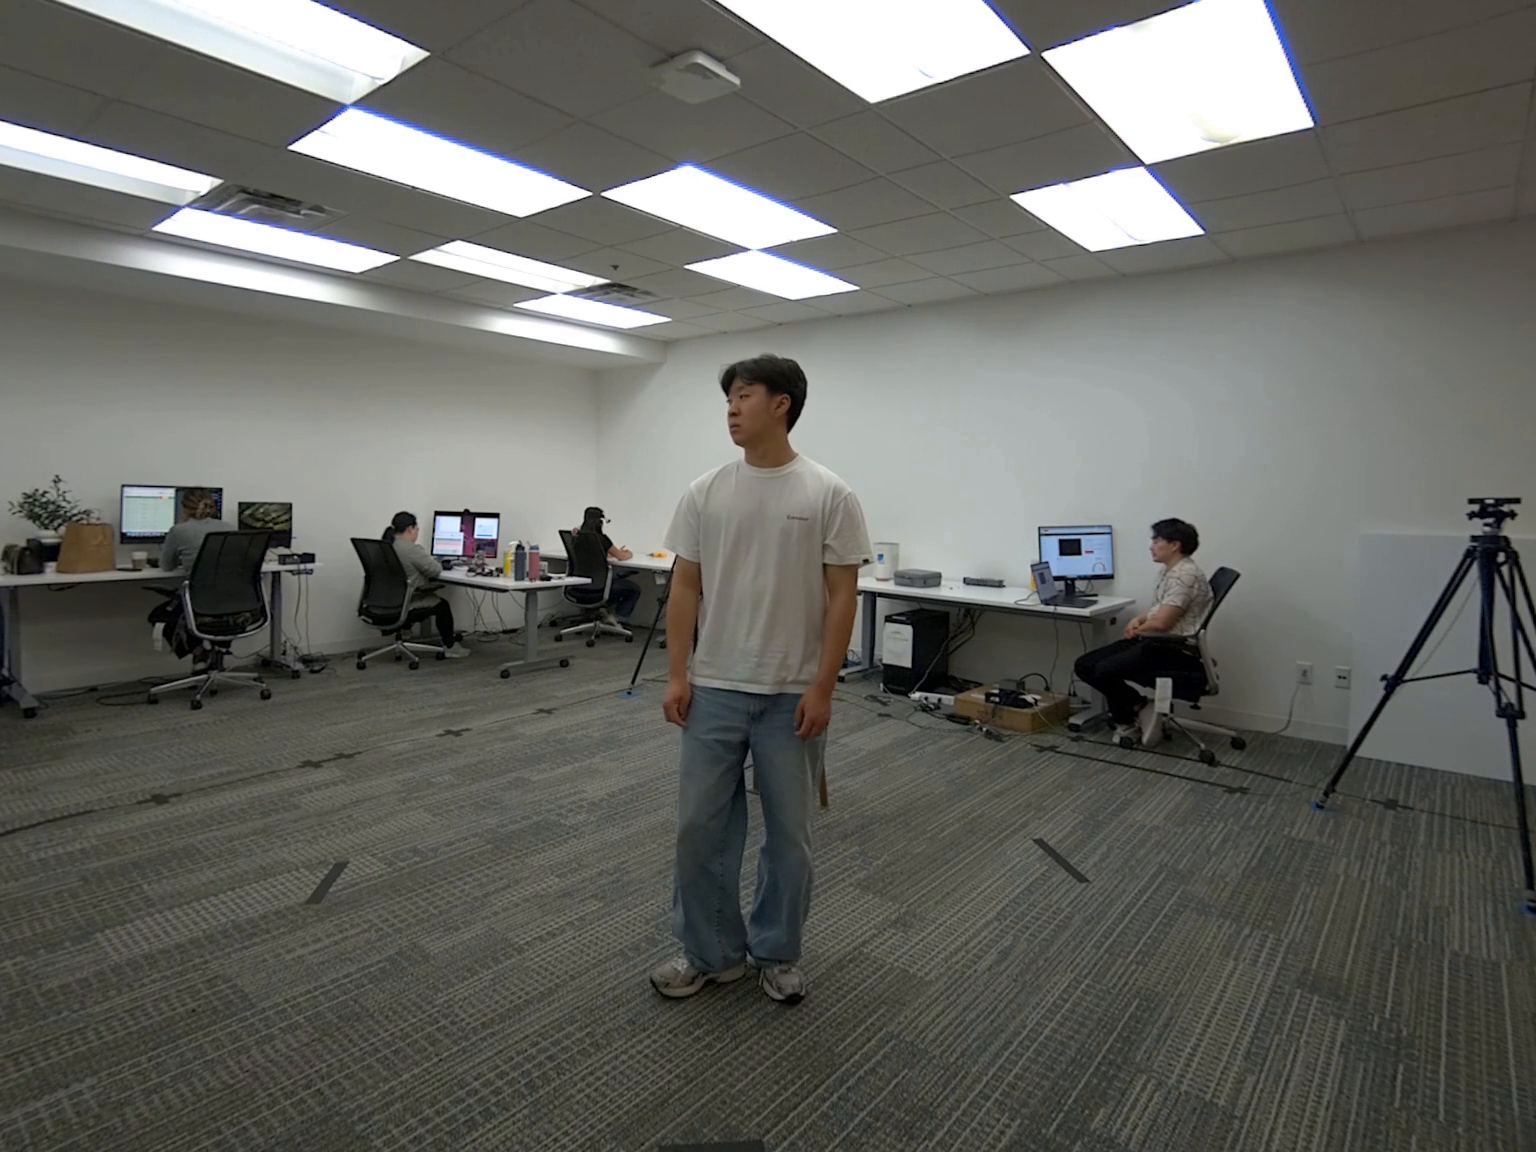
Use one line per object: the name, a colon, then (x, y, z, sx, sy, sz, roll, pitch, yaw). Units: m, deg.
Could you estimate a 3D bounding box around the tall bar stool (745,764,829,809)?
tall bar stool: (0.002, 0.579, 3.657, 0.470, 0.889, 0.454, 4, 2, 32)
